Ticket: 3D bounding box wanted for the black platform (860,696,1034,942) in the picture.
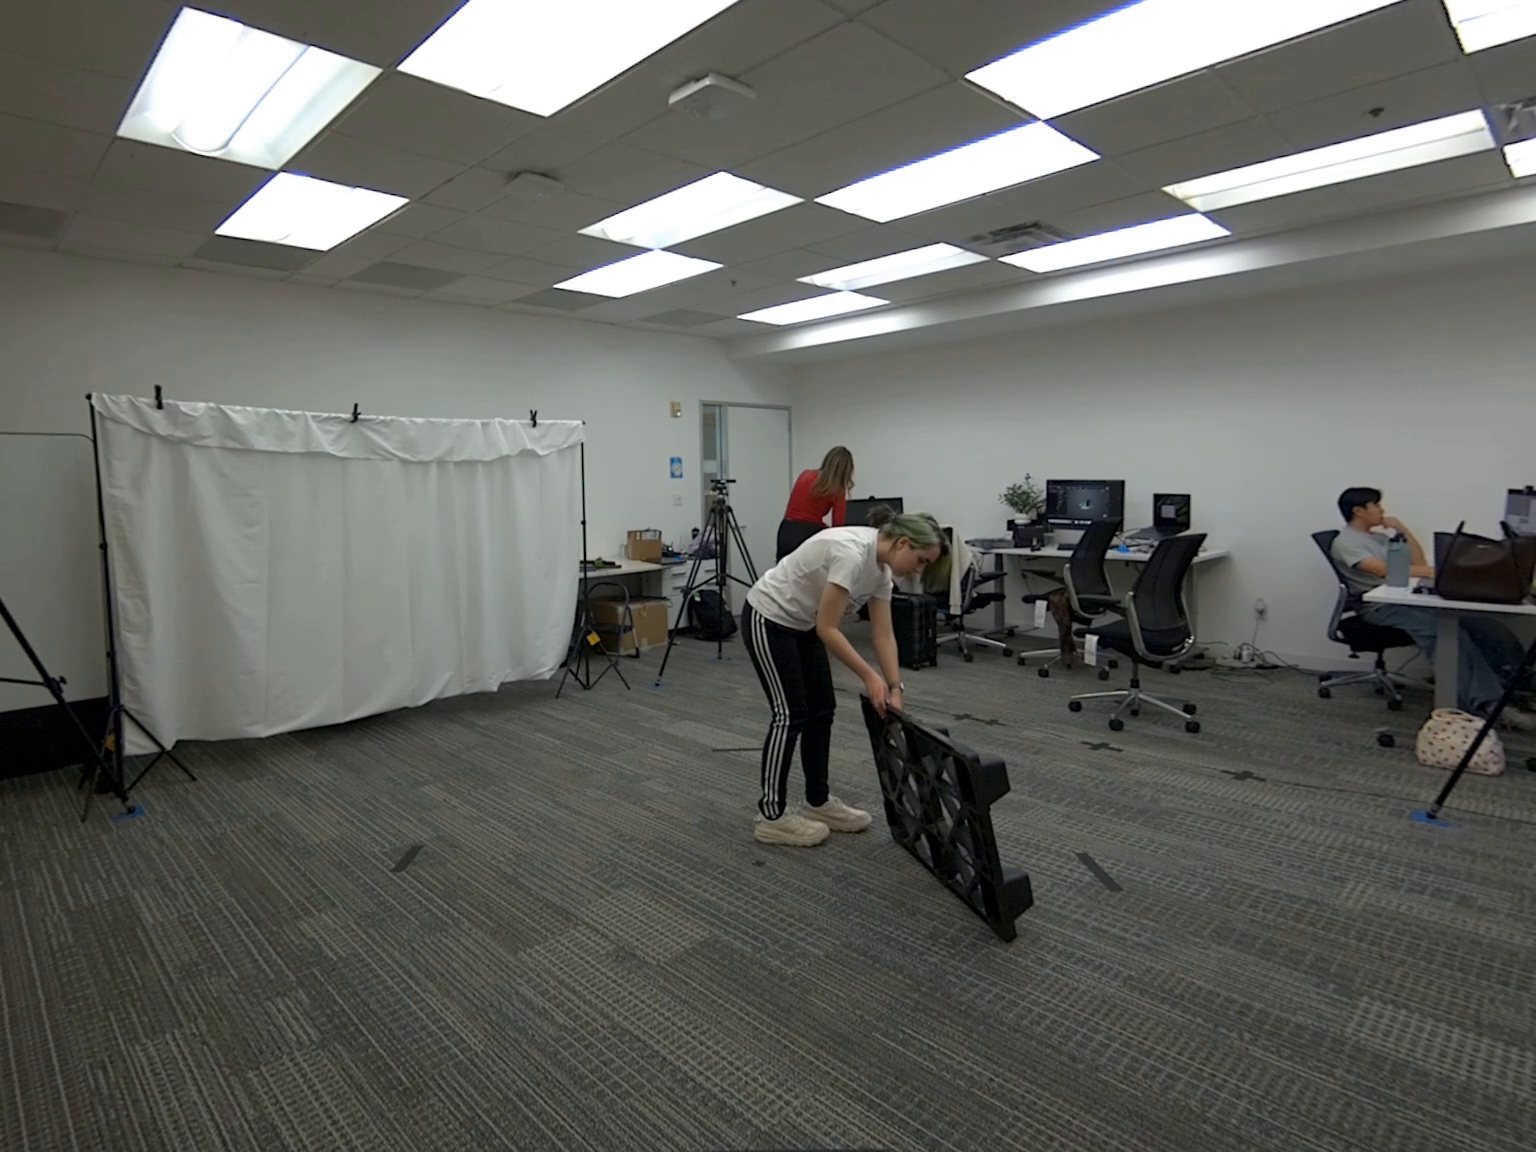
[{"bbox_3d":[0.592,0.759,2.898,0.142,0.600,0.820,-15,9,-14],"label":"black platform"}]
